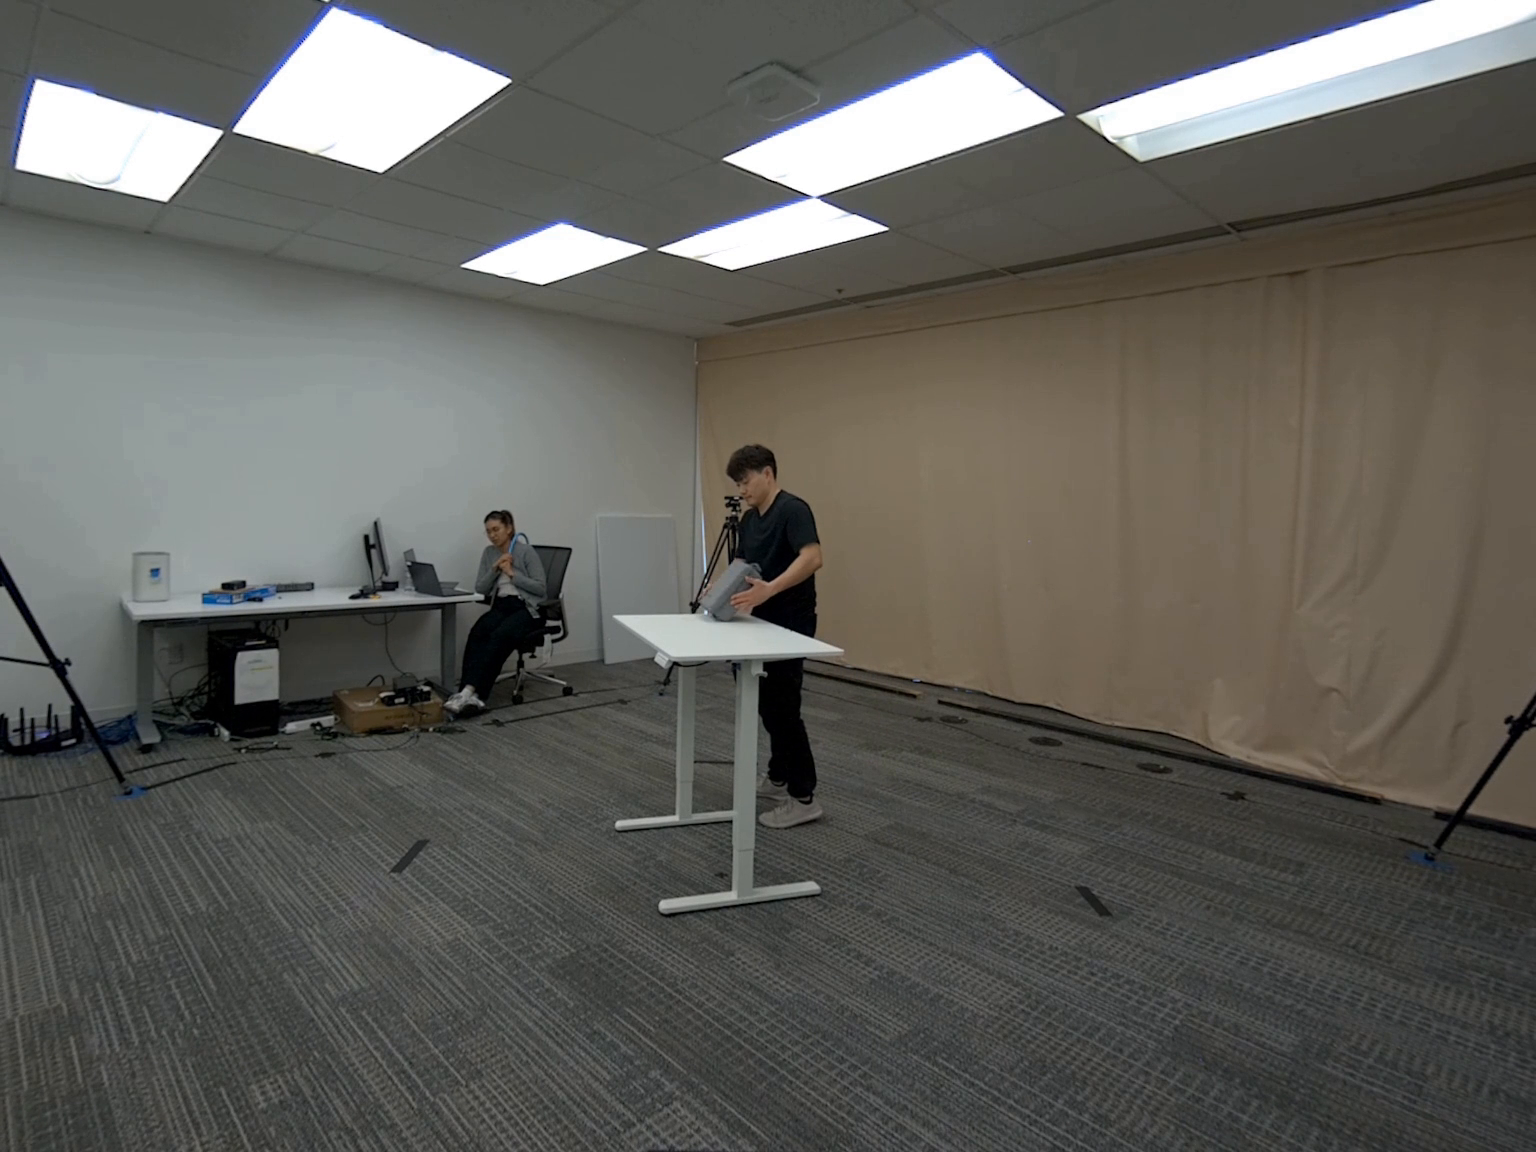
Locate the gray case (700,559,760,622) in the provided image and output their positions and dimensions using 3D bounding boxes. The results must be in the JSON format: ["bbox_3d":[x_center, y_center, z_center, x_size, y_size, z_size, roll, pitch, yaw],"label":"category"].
[{"bbox_3d":[-0.181,0.060,3.580,0.102,0.260,0.261,41,-5,-17],"label":"gray case"}]
